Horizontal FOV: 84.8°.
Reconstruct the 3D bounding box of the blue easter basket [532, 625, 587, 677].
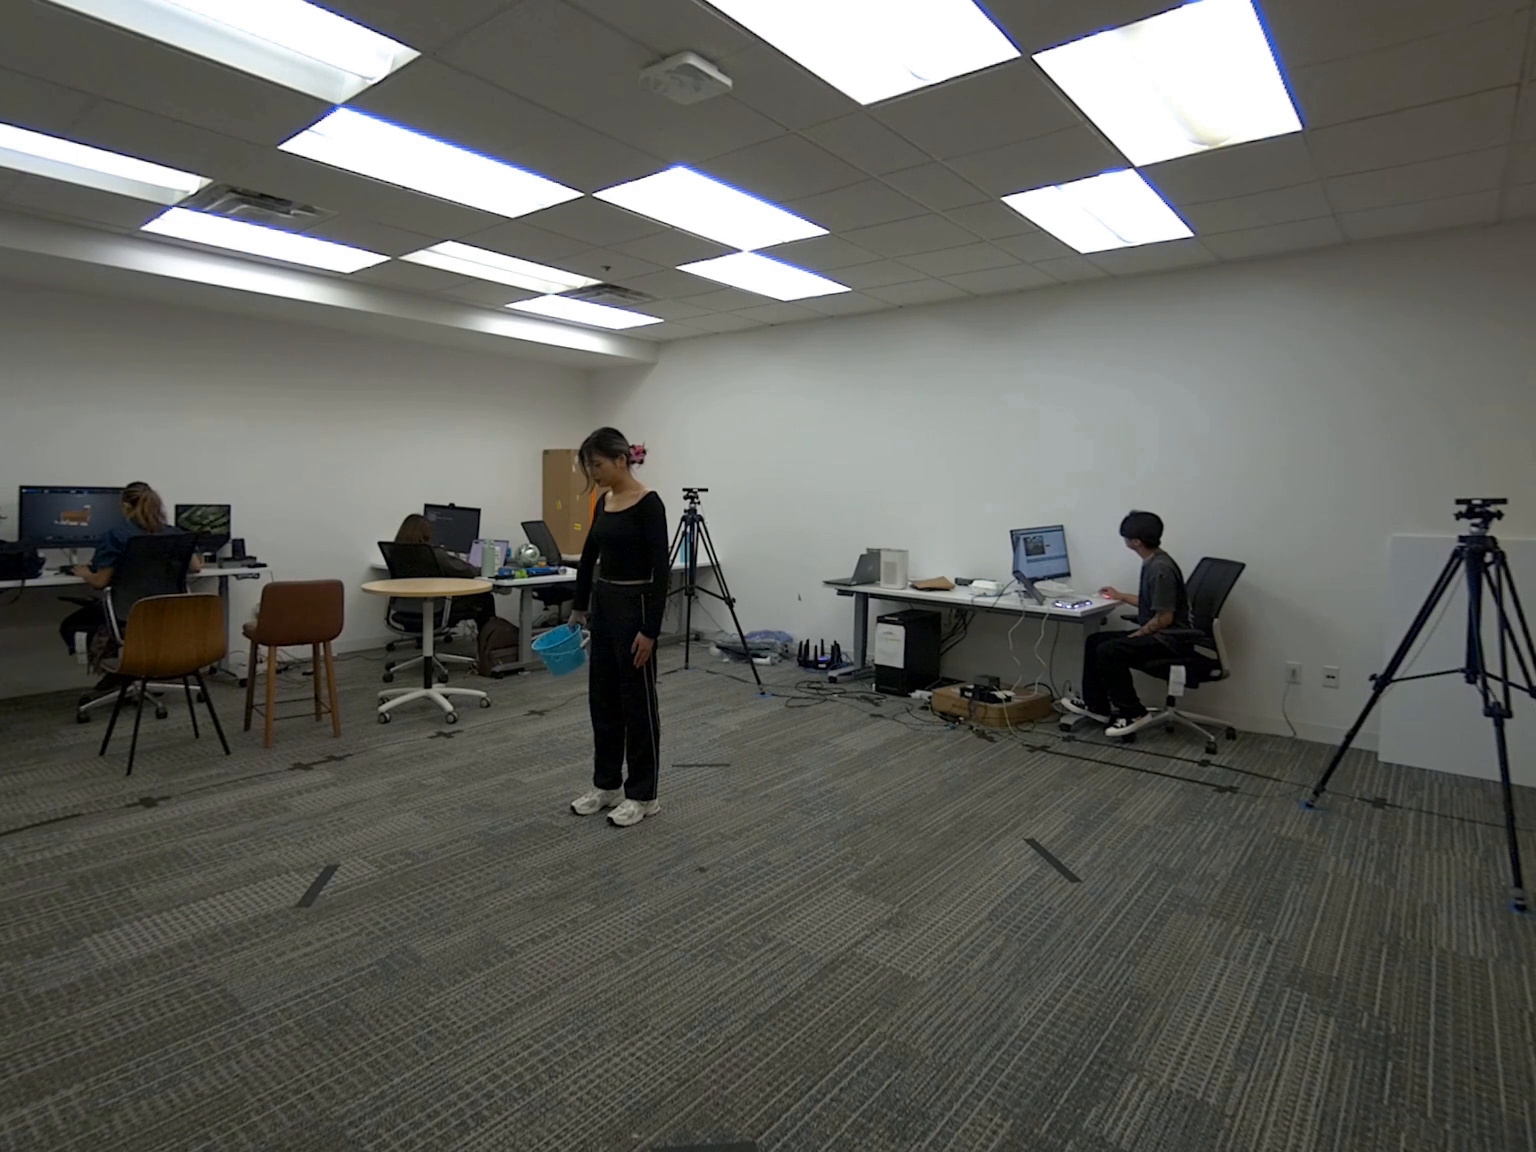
[{"bbox_3d":[-0.941,0.332,3.830,0.244,0.153,0.247,-21,17,4],"label":"blue easter basket"}]
